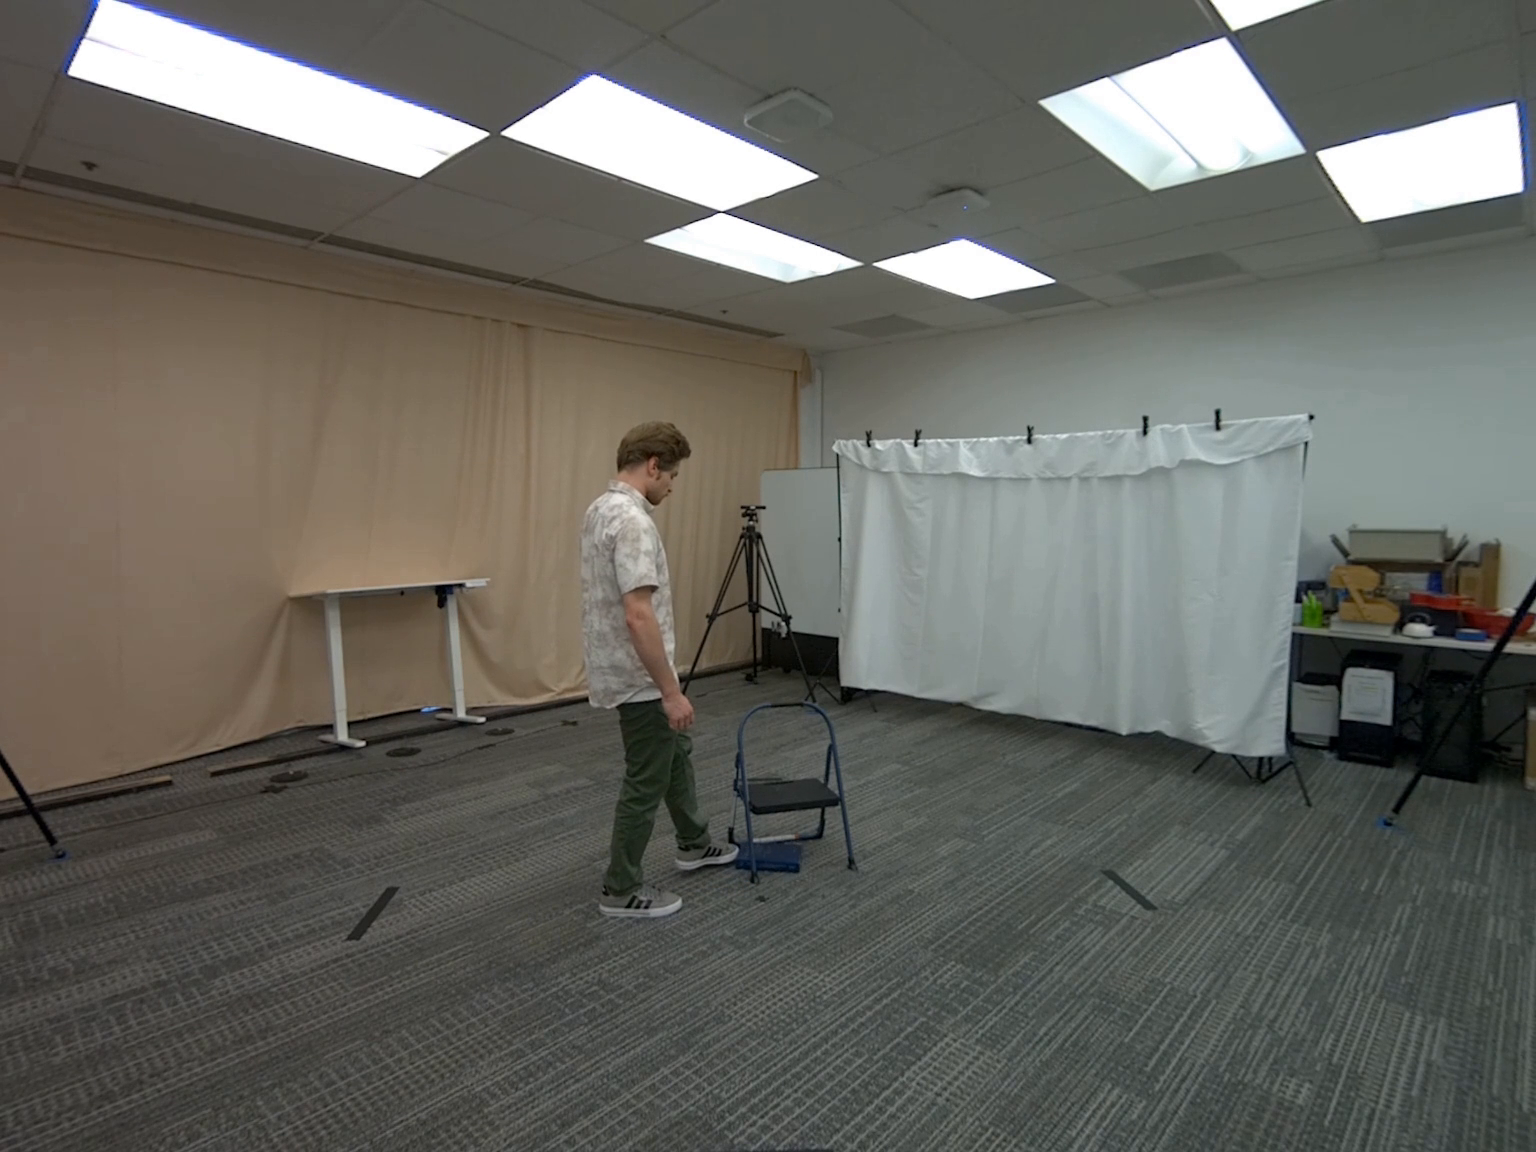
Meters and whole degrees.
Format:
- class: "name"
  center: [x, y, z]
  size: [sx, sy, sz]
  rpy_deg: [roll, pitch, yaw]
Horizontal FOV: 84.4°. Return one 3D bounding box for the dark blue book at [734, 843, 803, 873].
- class: "dark blue book"
  center: [0.006, 1.091, 3.274]
  size: [0.247, 0.045, 0.162]
  rpy_deg: [-1, 4, 8]
